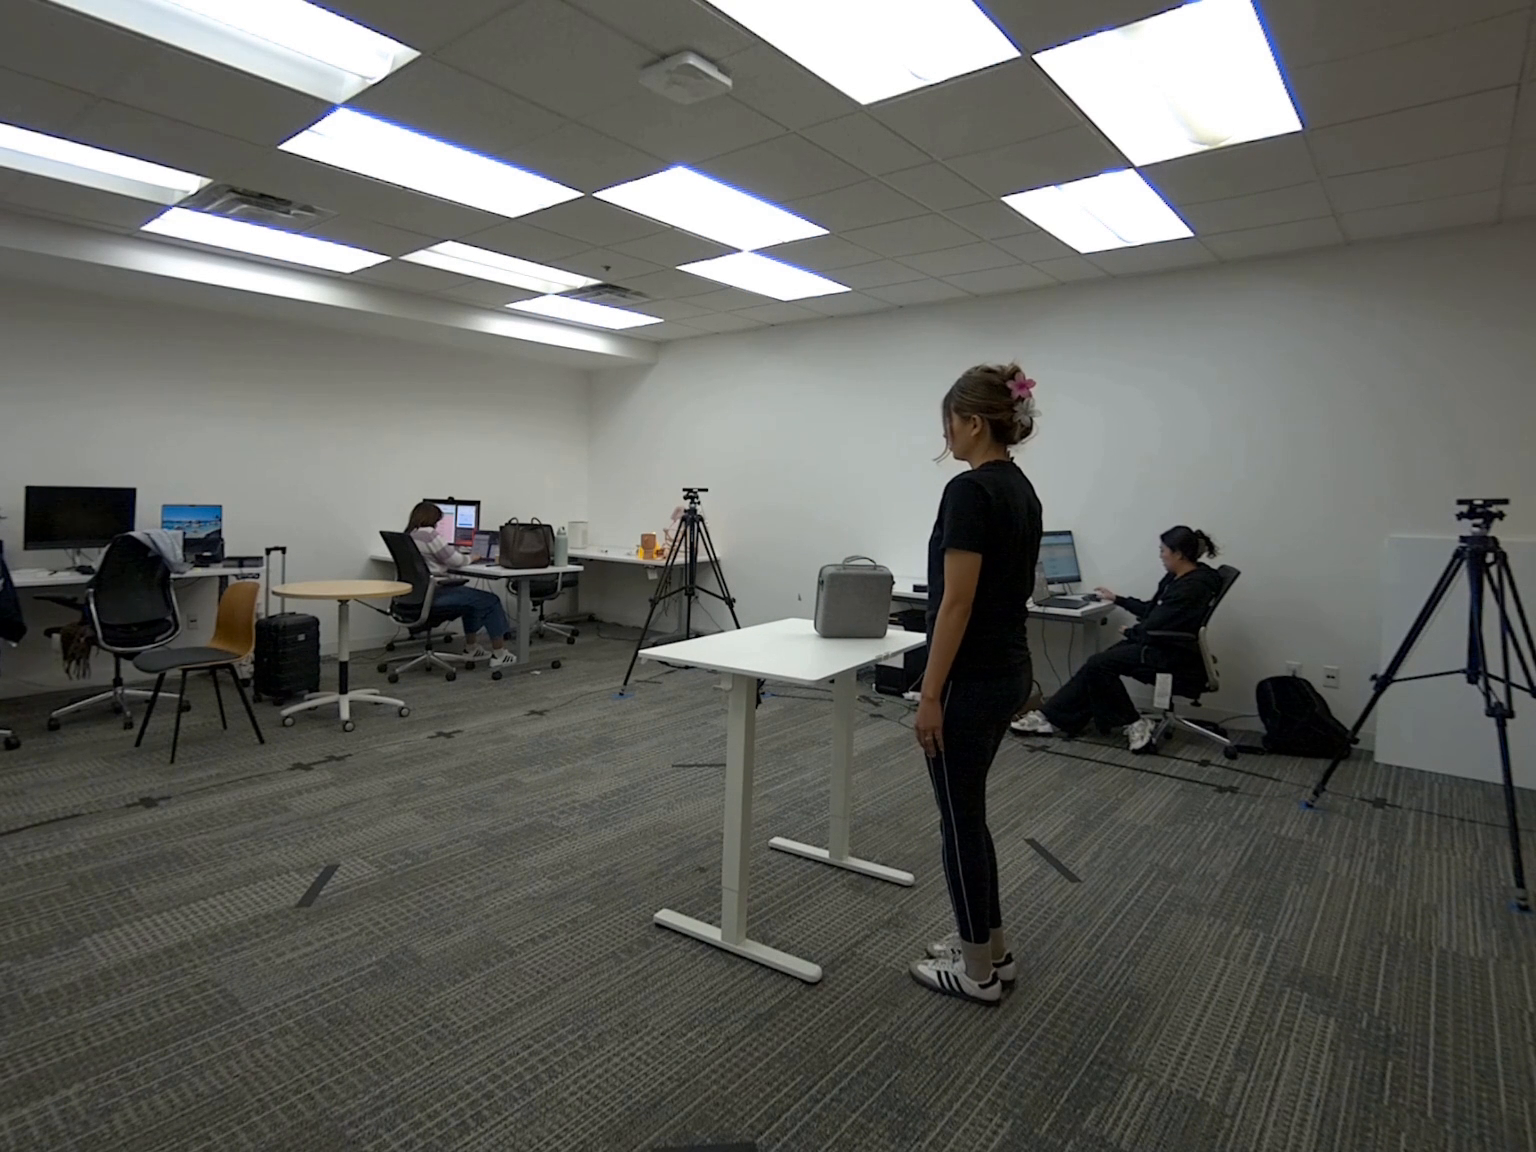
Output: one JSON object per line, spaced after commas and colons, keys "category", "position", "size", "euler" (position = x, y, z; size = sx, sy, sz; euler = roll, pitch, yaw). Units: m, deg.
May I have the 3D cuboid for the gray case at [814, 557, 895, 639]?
{"category": "gray case", "position": [0.293, 0.083, 2.990], "size": [0.254, 0.257, 0.107], "euler": [1, 15, -12]}
